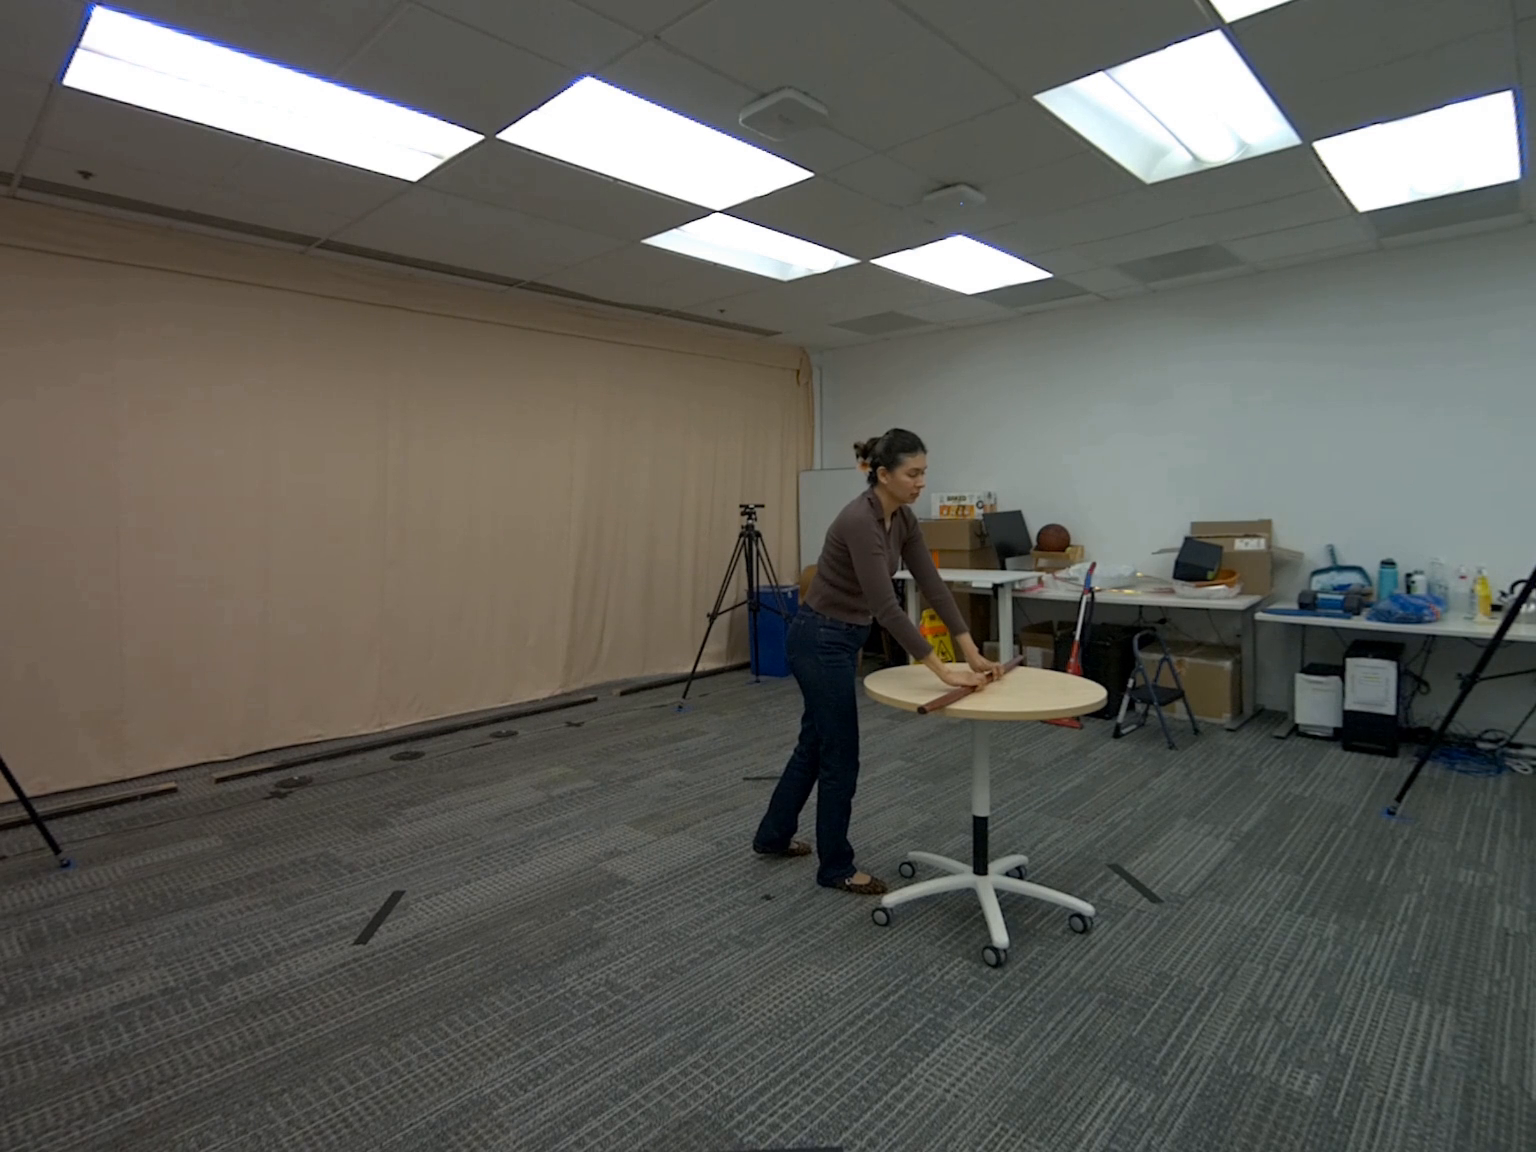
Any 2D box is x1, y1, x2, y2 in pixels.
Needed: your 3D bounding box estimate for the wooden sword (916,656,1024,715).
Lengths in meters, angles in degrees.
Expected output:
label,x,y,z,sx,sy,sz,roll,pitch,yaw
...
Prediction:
label,x,y,z,sx,sy,sz,roll,pitch,yaw
wooden sword,0.704,0.349,2.754,0.025,0.051,0.996,-11,-2,35
